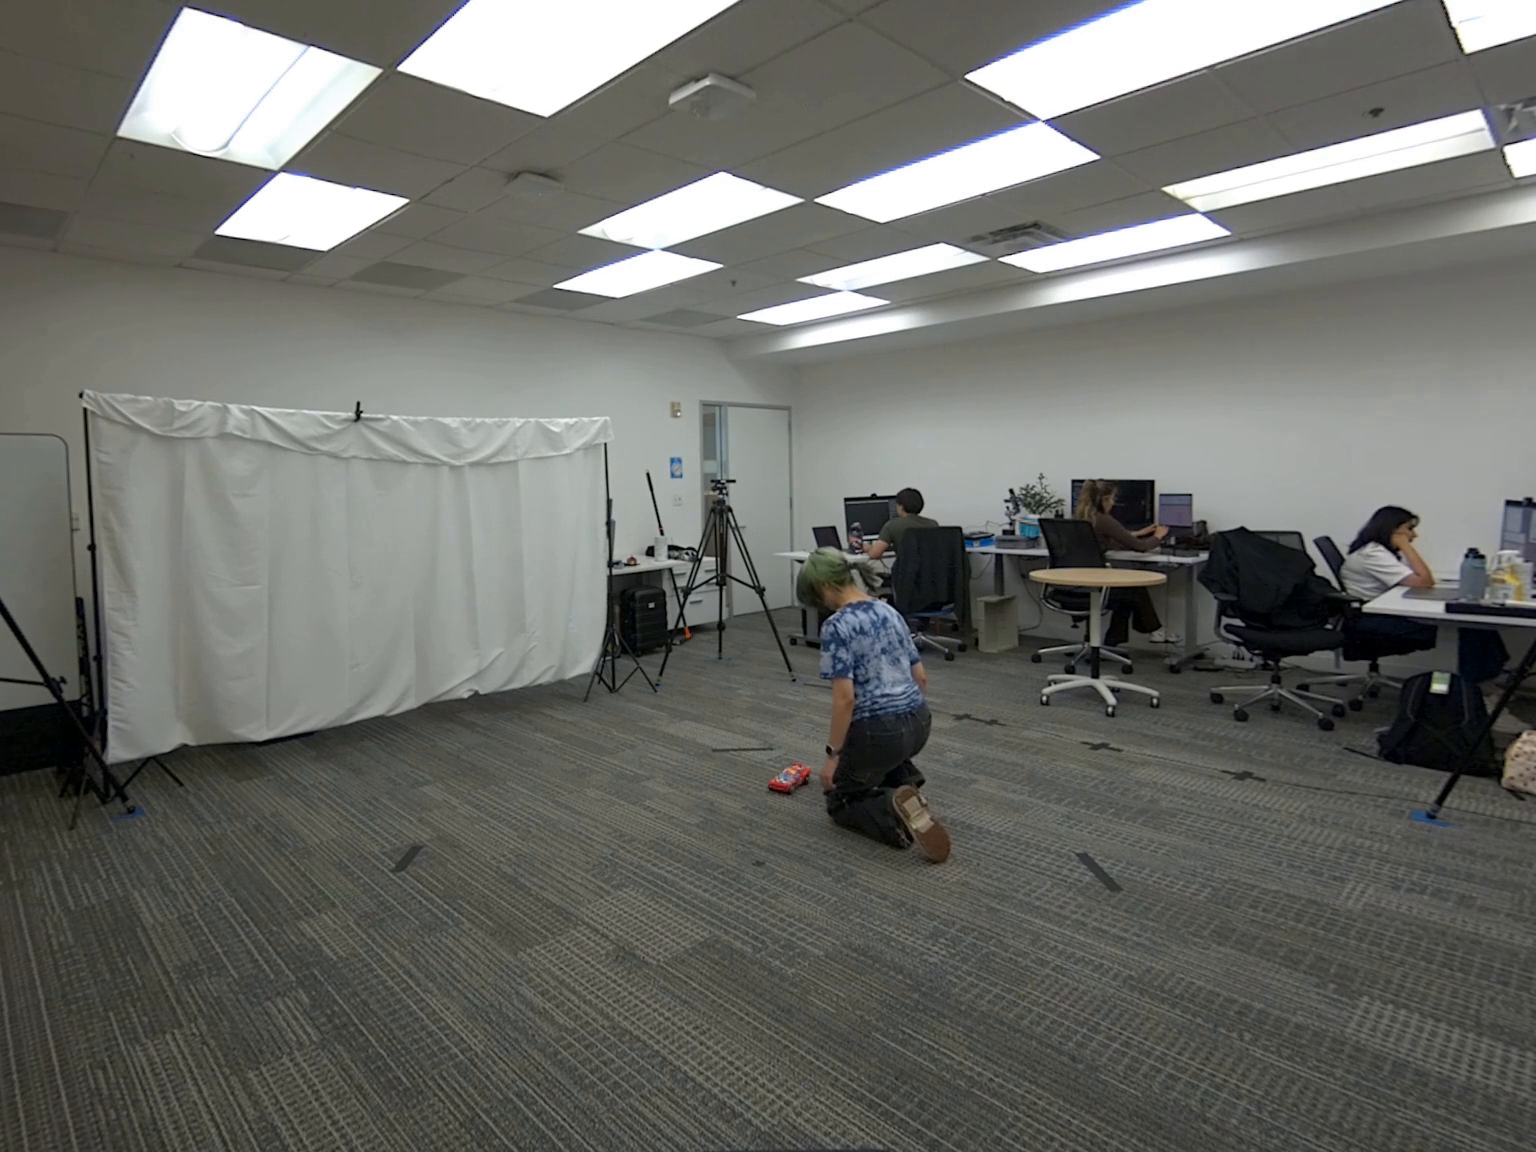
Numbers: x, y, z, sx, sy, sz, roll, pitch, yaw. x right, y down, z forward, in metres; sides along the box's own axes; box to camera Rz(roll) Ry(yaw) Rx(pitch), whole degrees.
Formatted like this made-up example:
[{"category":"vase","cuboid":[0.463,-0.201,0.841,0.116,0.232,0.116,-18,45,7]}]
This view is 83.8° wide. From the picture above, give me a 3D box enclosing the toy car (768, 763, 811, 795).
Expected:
[{"category":"toy car","cuboid":[0.104,0.927,3.906,0.134,0.082,0.251,2,17,31]}]
